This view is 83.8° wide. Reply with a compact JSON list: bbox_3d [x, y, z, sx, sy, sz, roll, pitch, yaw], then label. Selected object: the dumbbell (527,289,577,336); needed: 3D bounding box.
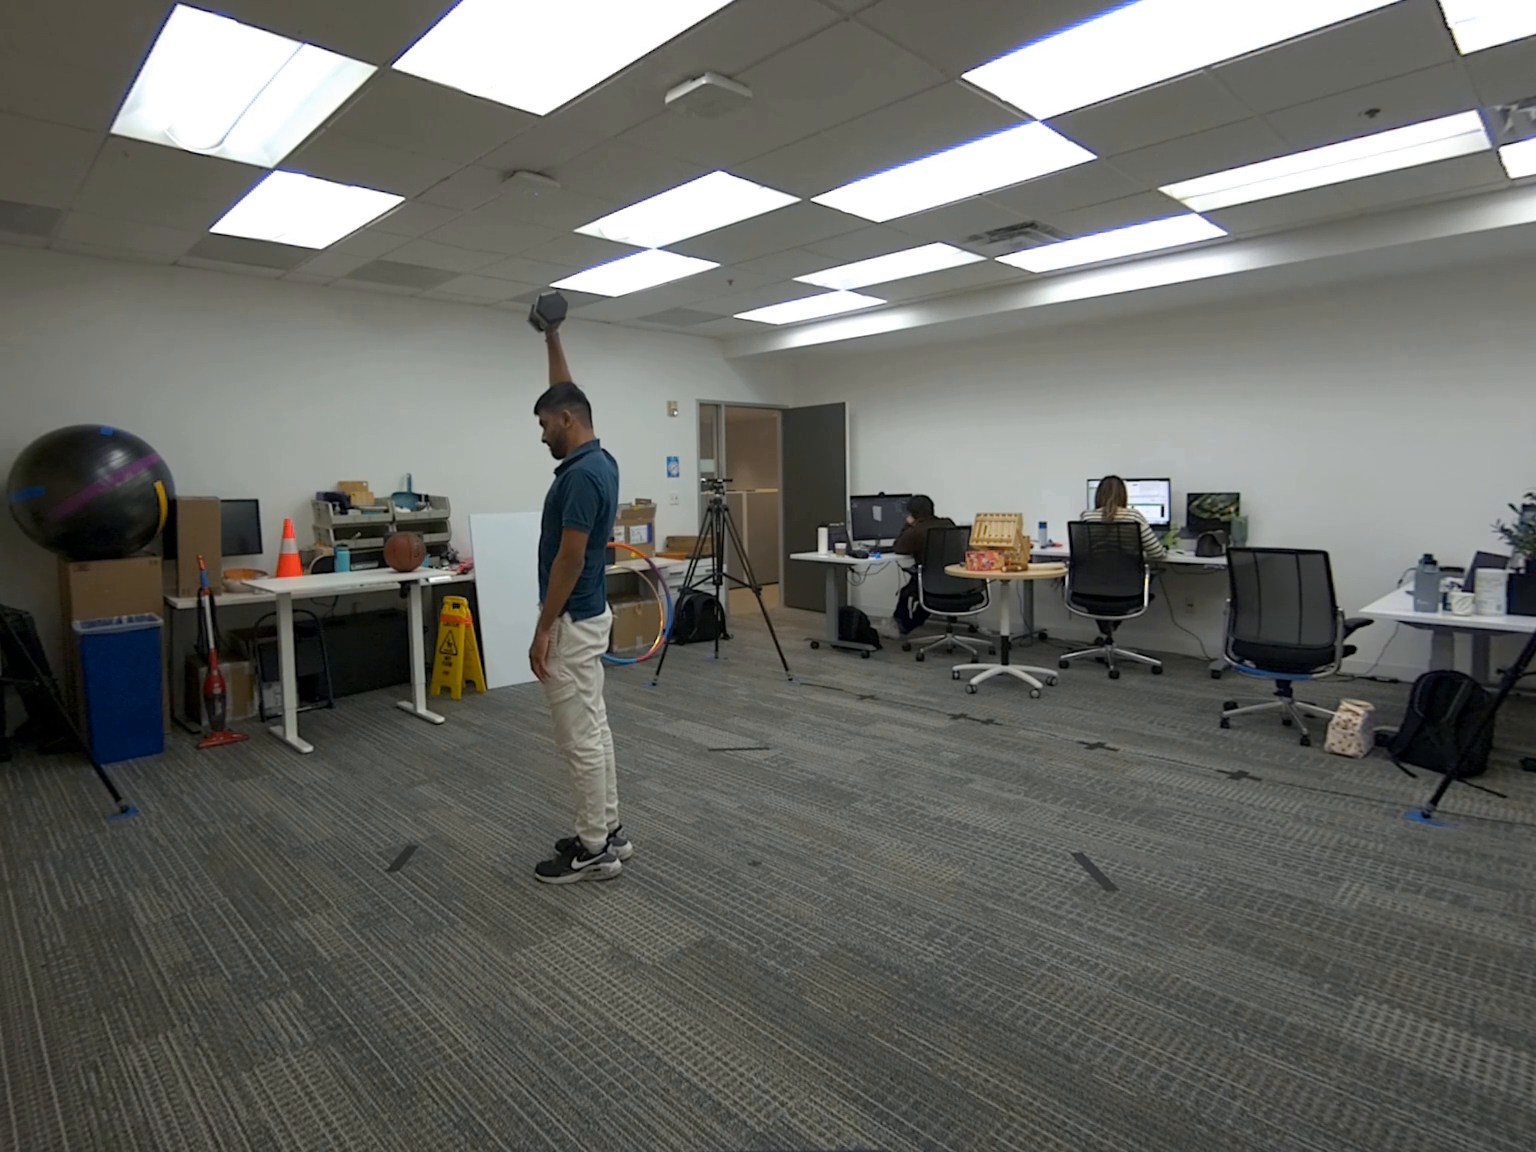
[{"bbox_3d":[-0.801,-0.969,3.155,0.122,0.107,0.301,-17,15,-16],"label":"dumbbell"}]
